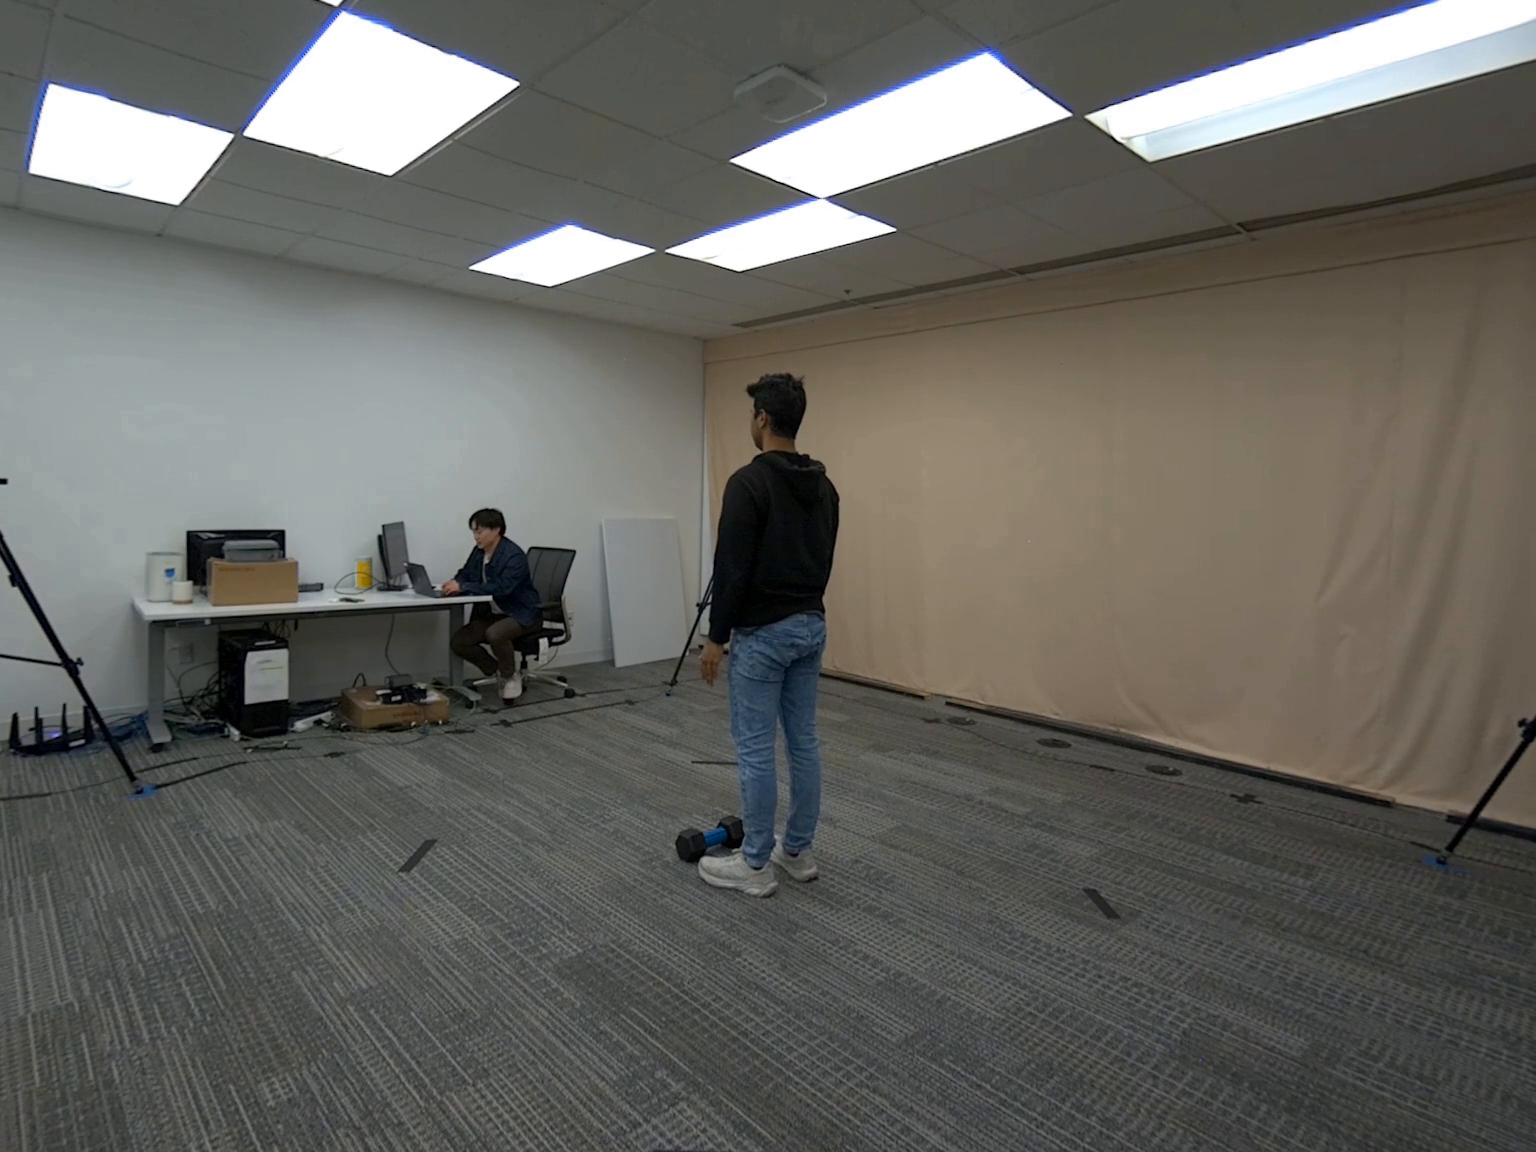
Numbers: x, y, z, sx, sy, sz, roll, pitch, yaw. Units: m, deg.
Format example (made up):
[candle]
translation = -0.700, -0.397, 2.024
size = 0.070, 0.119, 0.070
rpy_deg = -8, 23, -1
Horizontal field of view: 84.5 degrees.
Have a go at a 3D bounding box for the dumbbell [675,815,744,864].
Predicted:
[dumbbell]
translation = -0.230, 1.031, 3.309
size = 0.287, 0.122, 0.112
rpy_deg = -4, 37, -44
